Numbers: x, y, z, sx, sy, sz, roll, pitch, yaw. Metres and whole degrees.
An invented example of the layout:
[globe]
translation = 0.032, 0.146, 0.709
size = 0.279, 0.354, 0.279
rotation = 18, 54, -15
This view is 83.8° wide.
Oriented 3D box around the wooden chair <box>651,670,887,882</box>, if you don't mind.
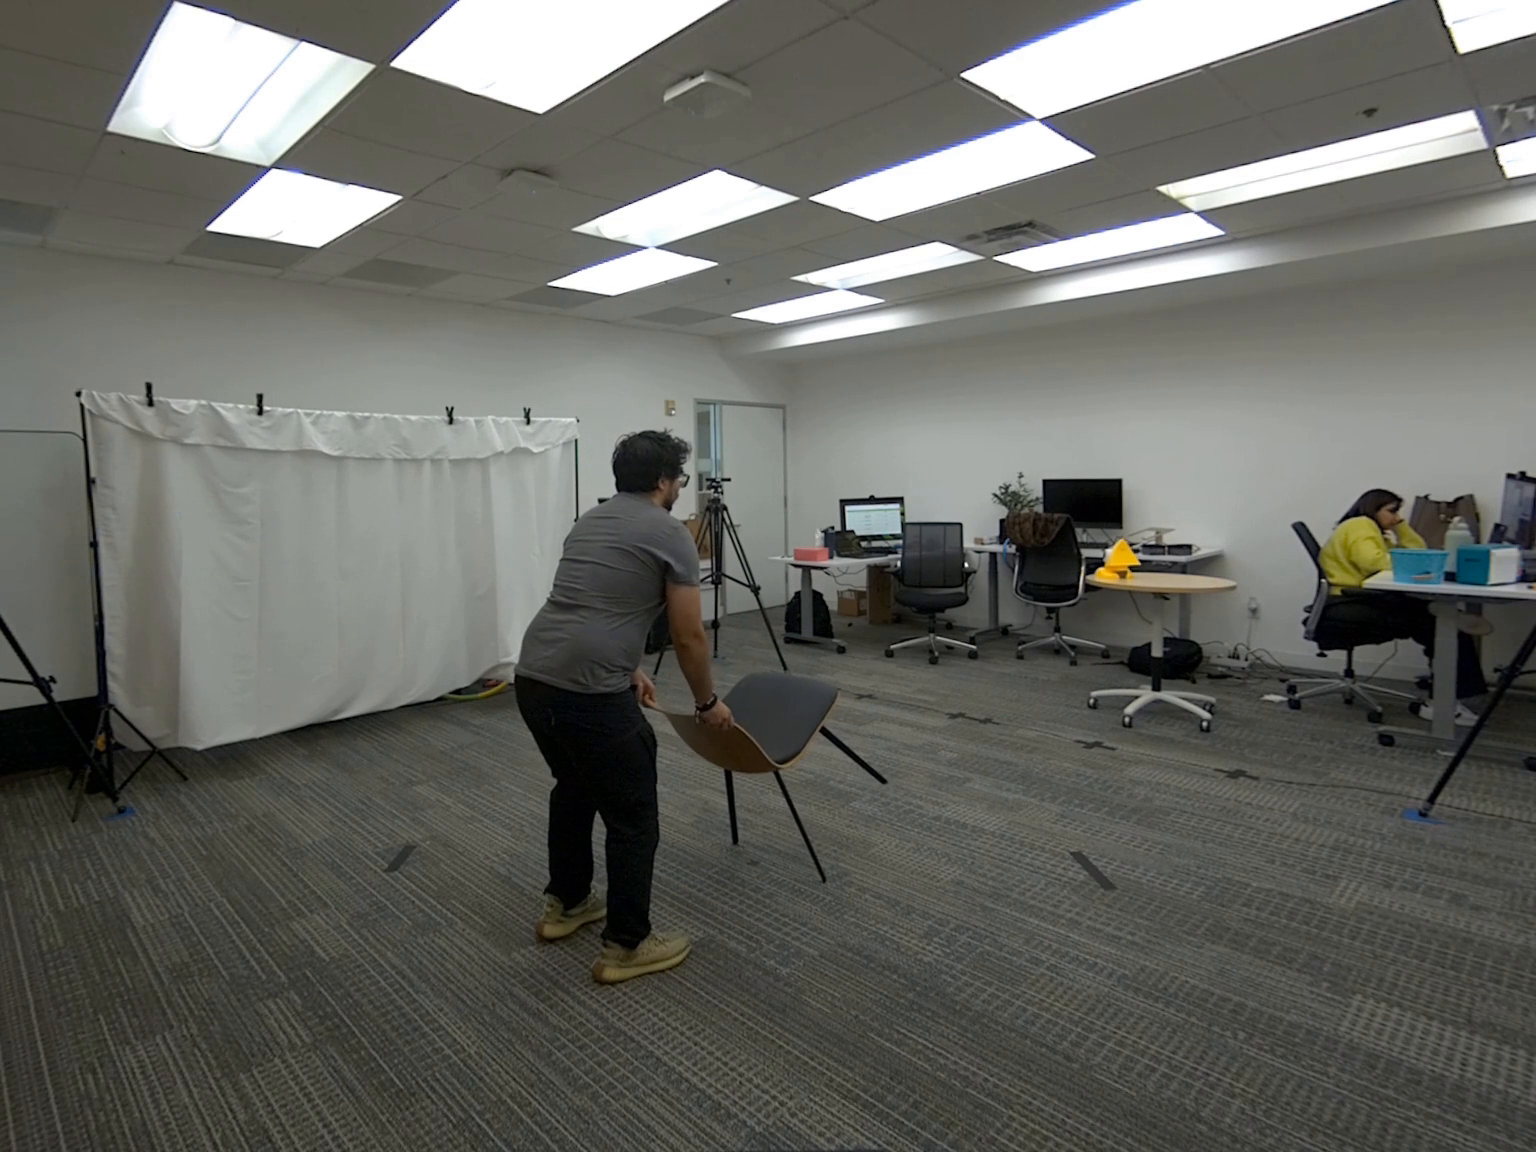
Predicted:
[wooden chair]
translation = -0.006, 0.563, 3.040
size = 0.493, 0.849, 0.524
rotation = 4, 45, 44
